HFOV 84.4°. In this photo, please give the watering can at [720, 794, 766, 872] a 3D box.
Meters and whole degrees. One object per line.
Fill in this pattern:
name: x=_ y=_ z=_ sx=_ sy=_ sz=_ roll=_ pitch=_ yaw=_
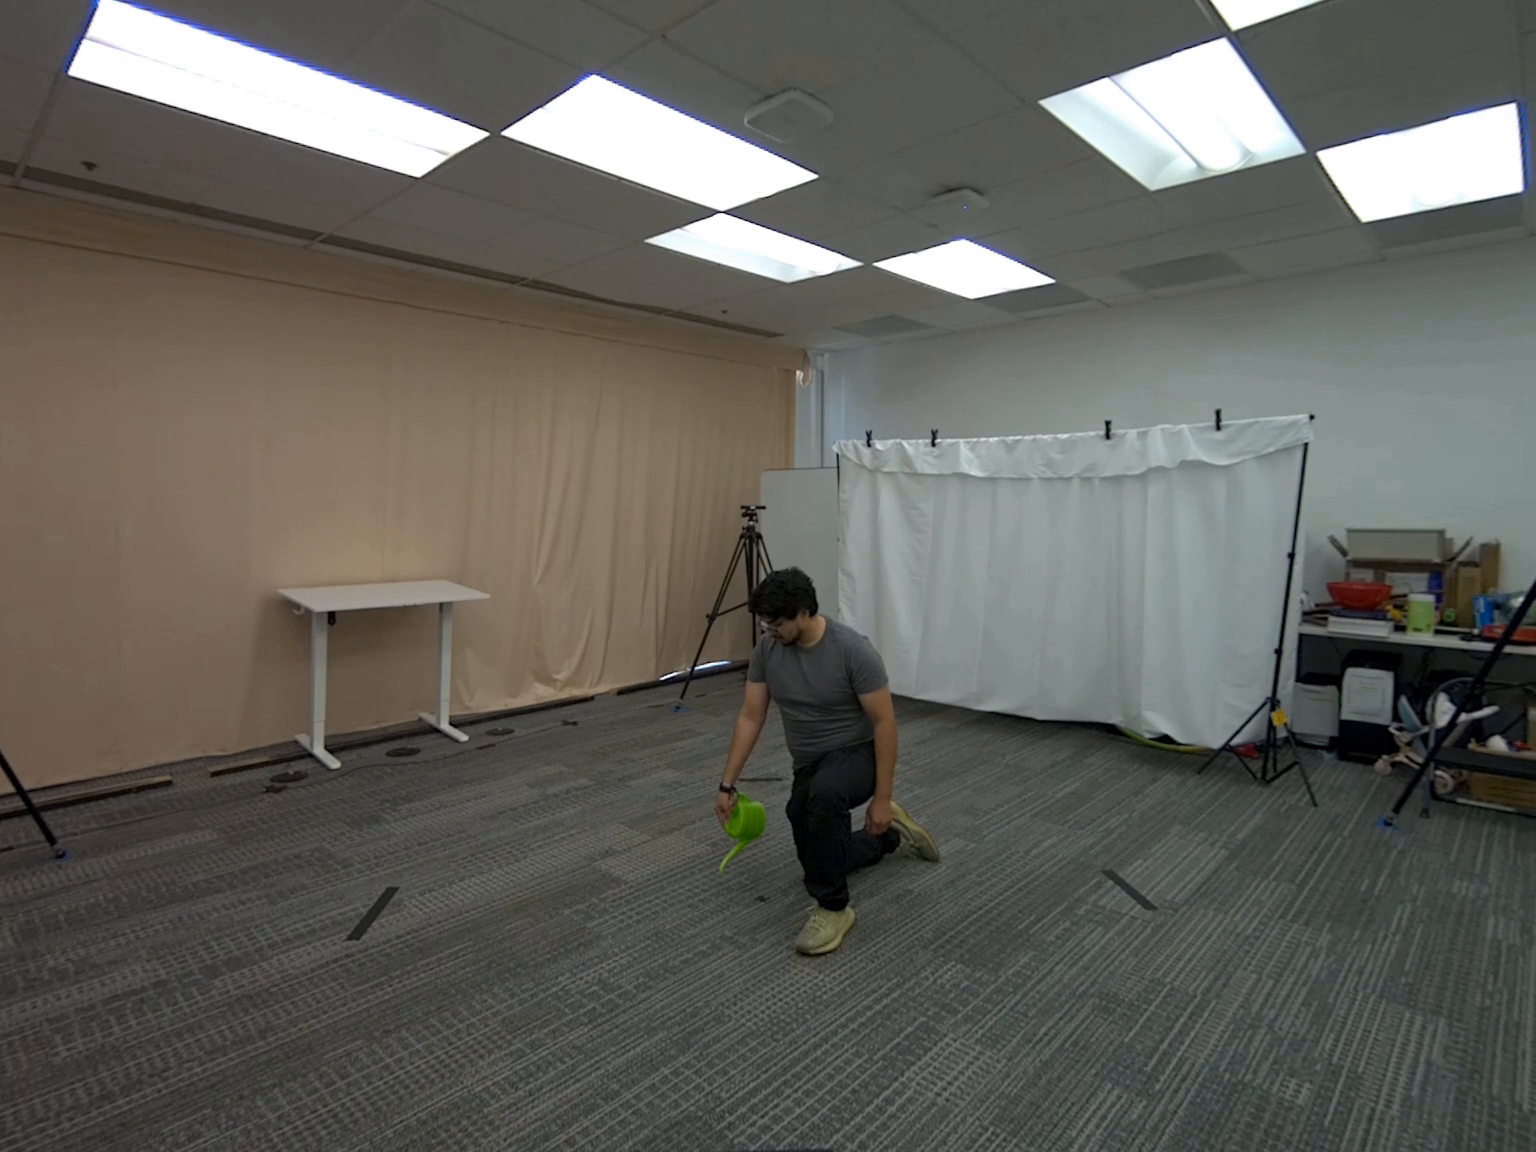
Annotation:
watering can: x=-0.103 y=0.945 z=3.109 sx=0.101 sy=0.278 sz=0.170 roll=13 pitch=-5 yaw=45
